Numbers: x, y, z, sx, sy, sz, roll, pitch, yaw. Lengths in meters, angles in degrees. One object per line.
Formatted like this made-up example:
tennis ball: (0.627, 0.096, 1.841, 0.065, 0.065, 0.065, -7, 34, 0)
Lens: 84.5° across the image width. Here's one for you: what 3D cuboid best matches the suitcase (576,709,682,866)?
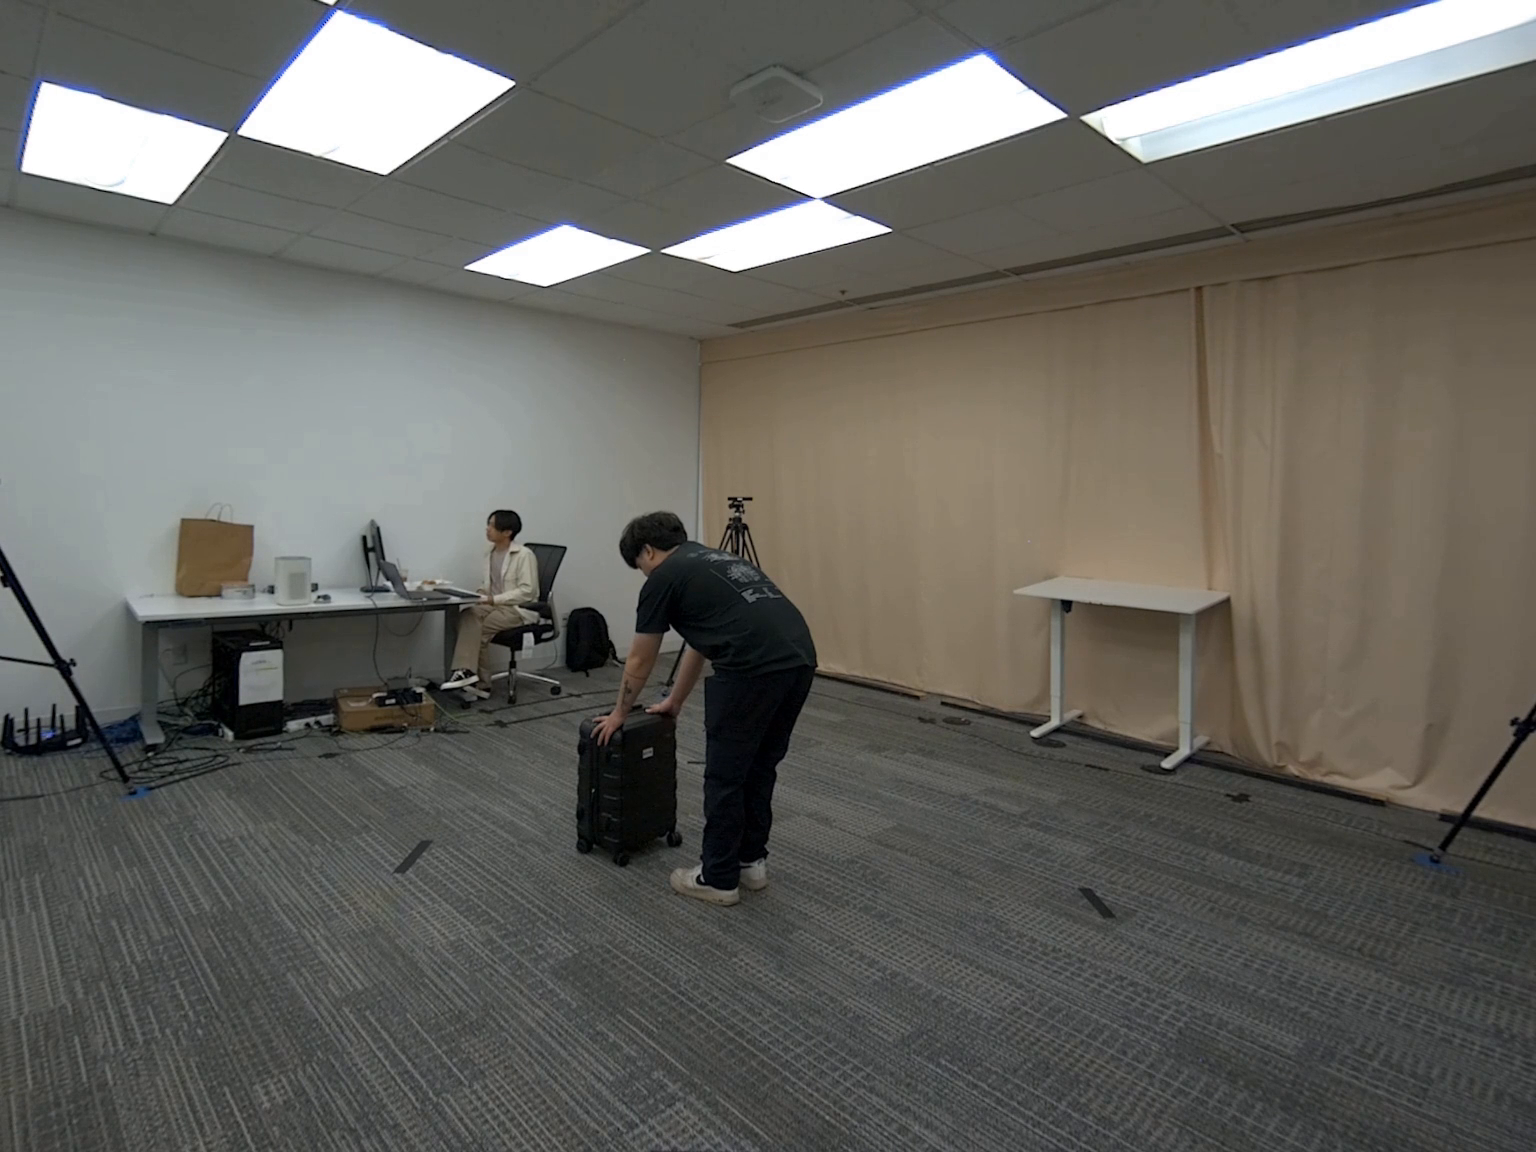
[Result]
suitcase: (-0.563, 0.806, 3.334, 0.254, 0.548, 0.367, 2, 3, 38)
